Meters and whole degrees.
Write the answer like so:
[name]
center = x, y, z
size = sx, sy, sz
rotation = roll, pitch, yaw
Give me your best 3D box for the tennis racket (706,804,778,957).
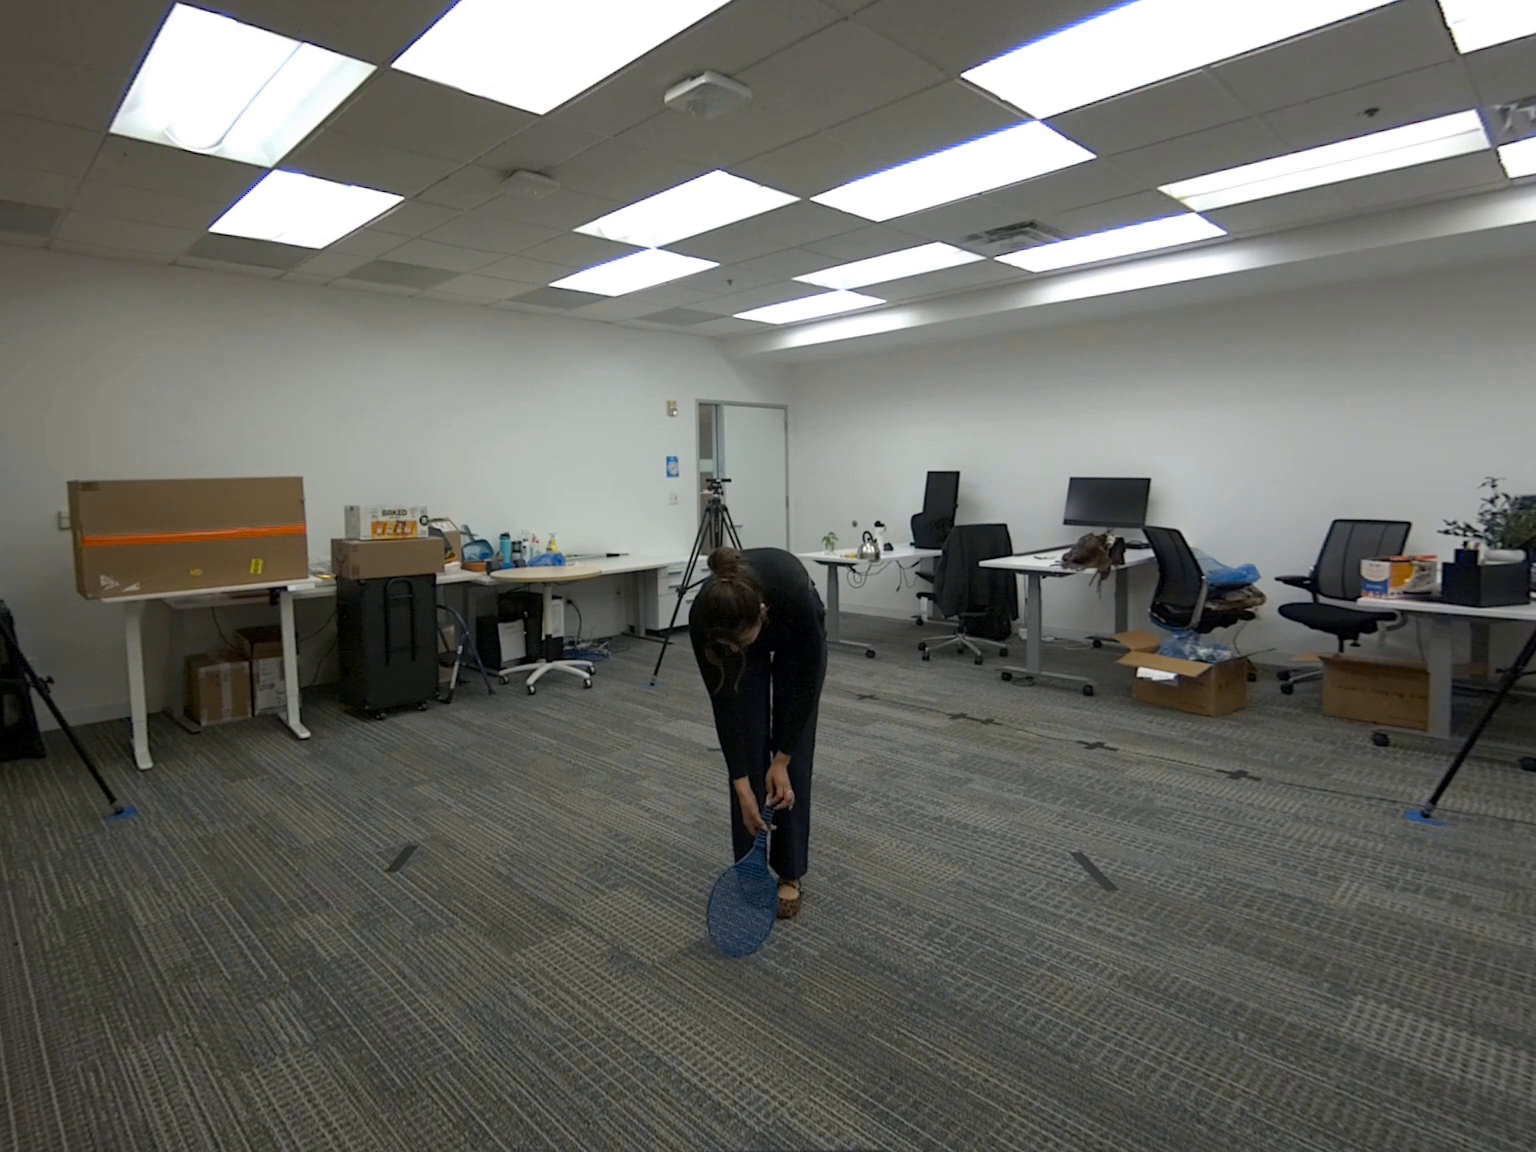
[tennis racket]
center = -0.043, 0.910, 2.556
size = 0.211, 0.436, 0.032
rotation = 22, -14, -10
